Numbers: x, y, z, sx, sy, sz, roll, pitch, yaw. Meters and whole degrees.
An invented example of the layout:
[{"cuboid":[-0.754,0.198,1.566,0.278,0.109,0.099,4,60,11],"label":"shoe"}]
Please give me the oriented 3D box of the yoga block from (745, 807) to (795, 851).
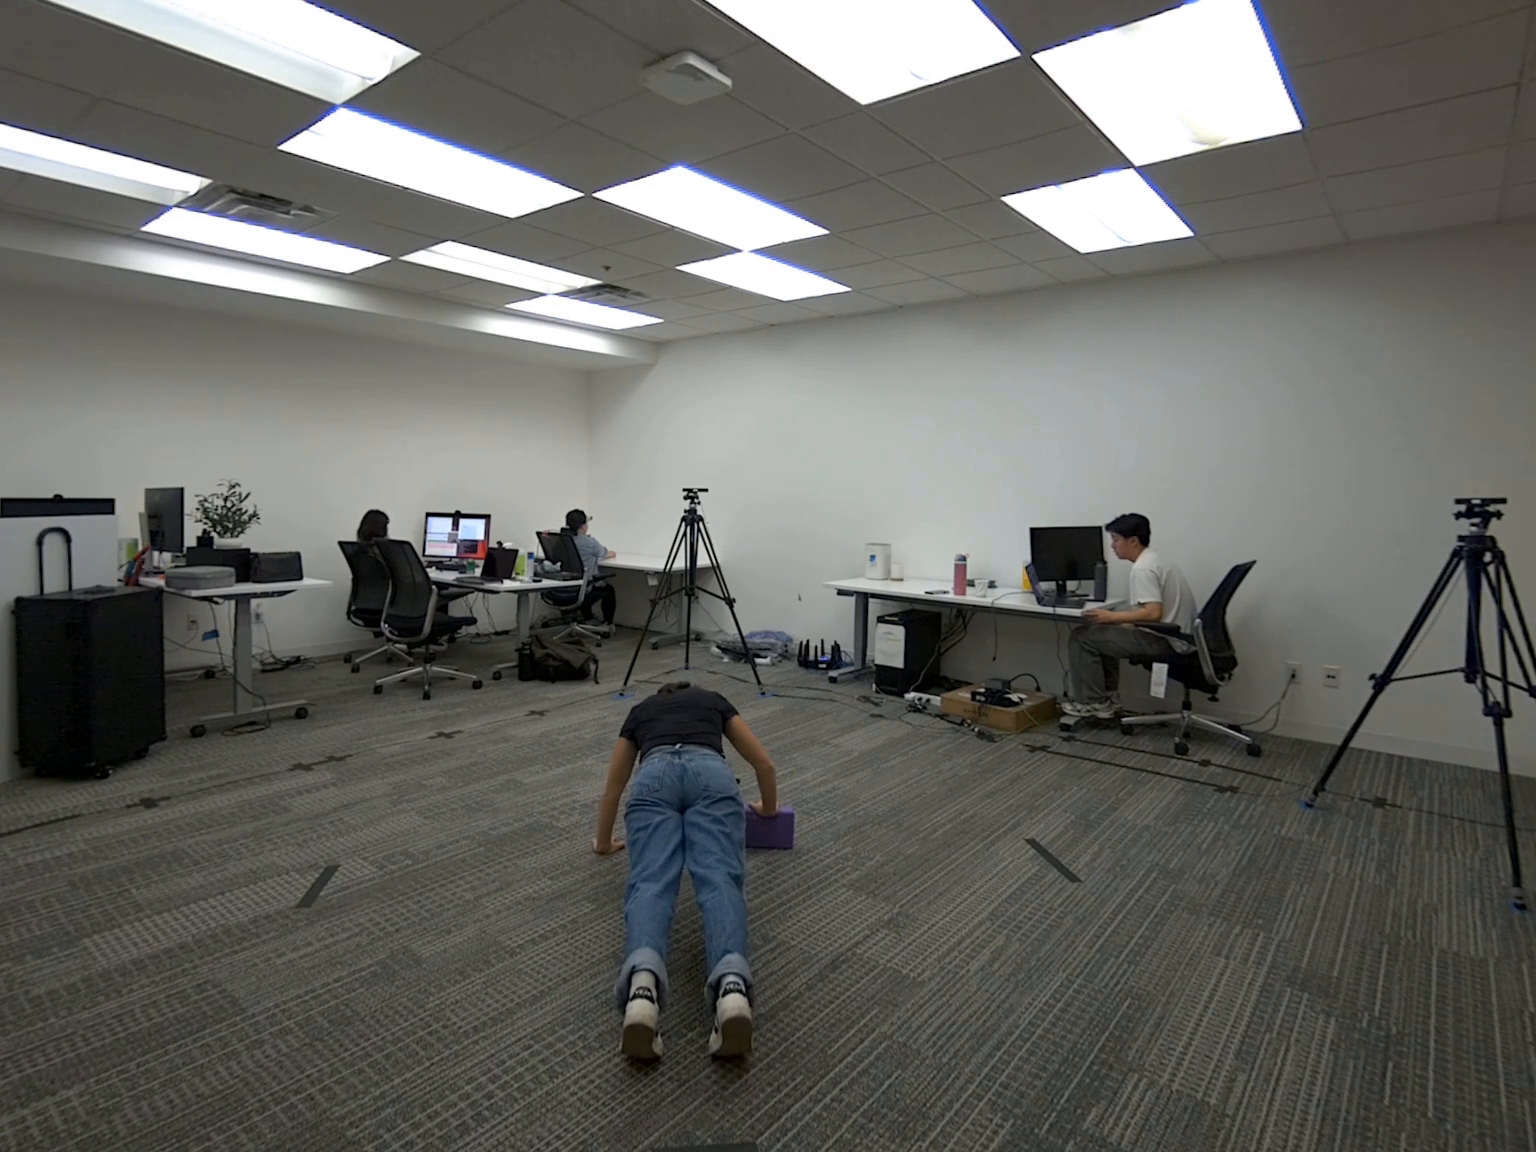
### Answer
[{"cuboid":[-0.010,0.973,3.331,0.230,0.148,0.076,-2,3,1],"label":"yoga block"}]
